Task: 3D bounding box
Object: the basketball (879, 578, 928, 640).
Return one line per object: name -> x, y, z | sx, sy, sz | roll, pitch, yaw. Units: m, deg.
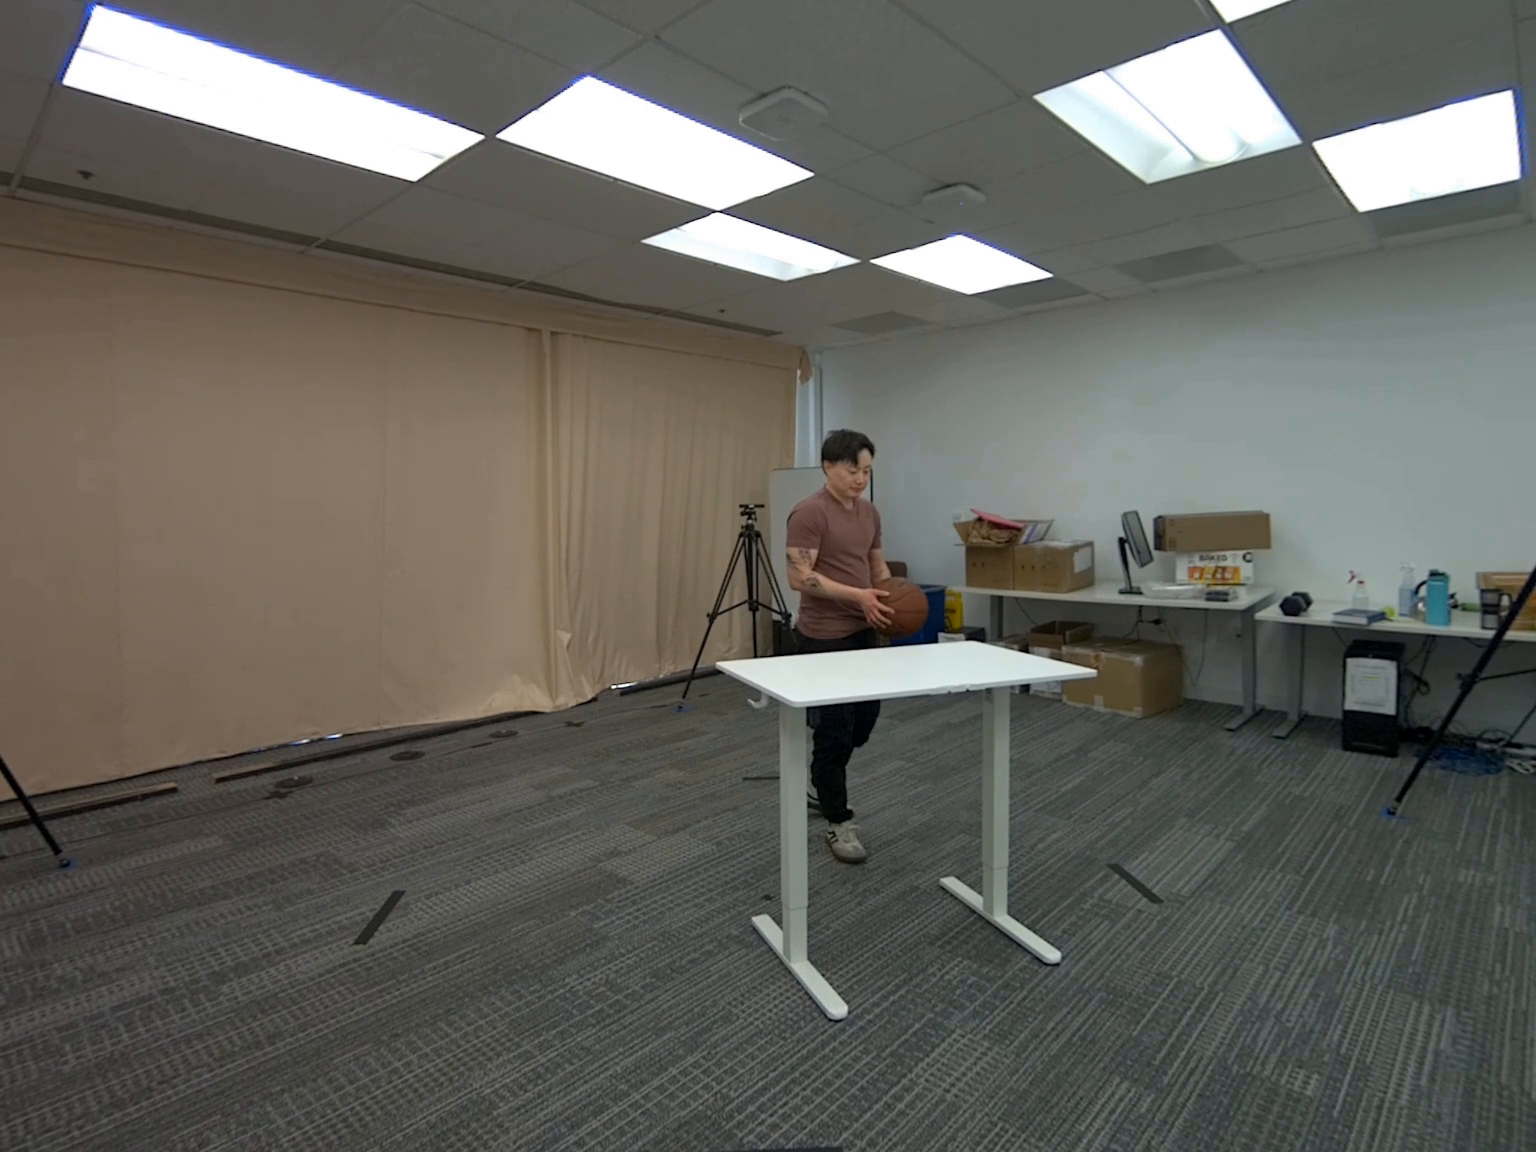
basketball -> 0.481, 0.125, 3.235 | 0.236, 0.235, 0.237 | -1, 4, -2
